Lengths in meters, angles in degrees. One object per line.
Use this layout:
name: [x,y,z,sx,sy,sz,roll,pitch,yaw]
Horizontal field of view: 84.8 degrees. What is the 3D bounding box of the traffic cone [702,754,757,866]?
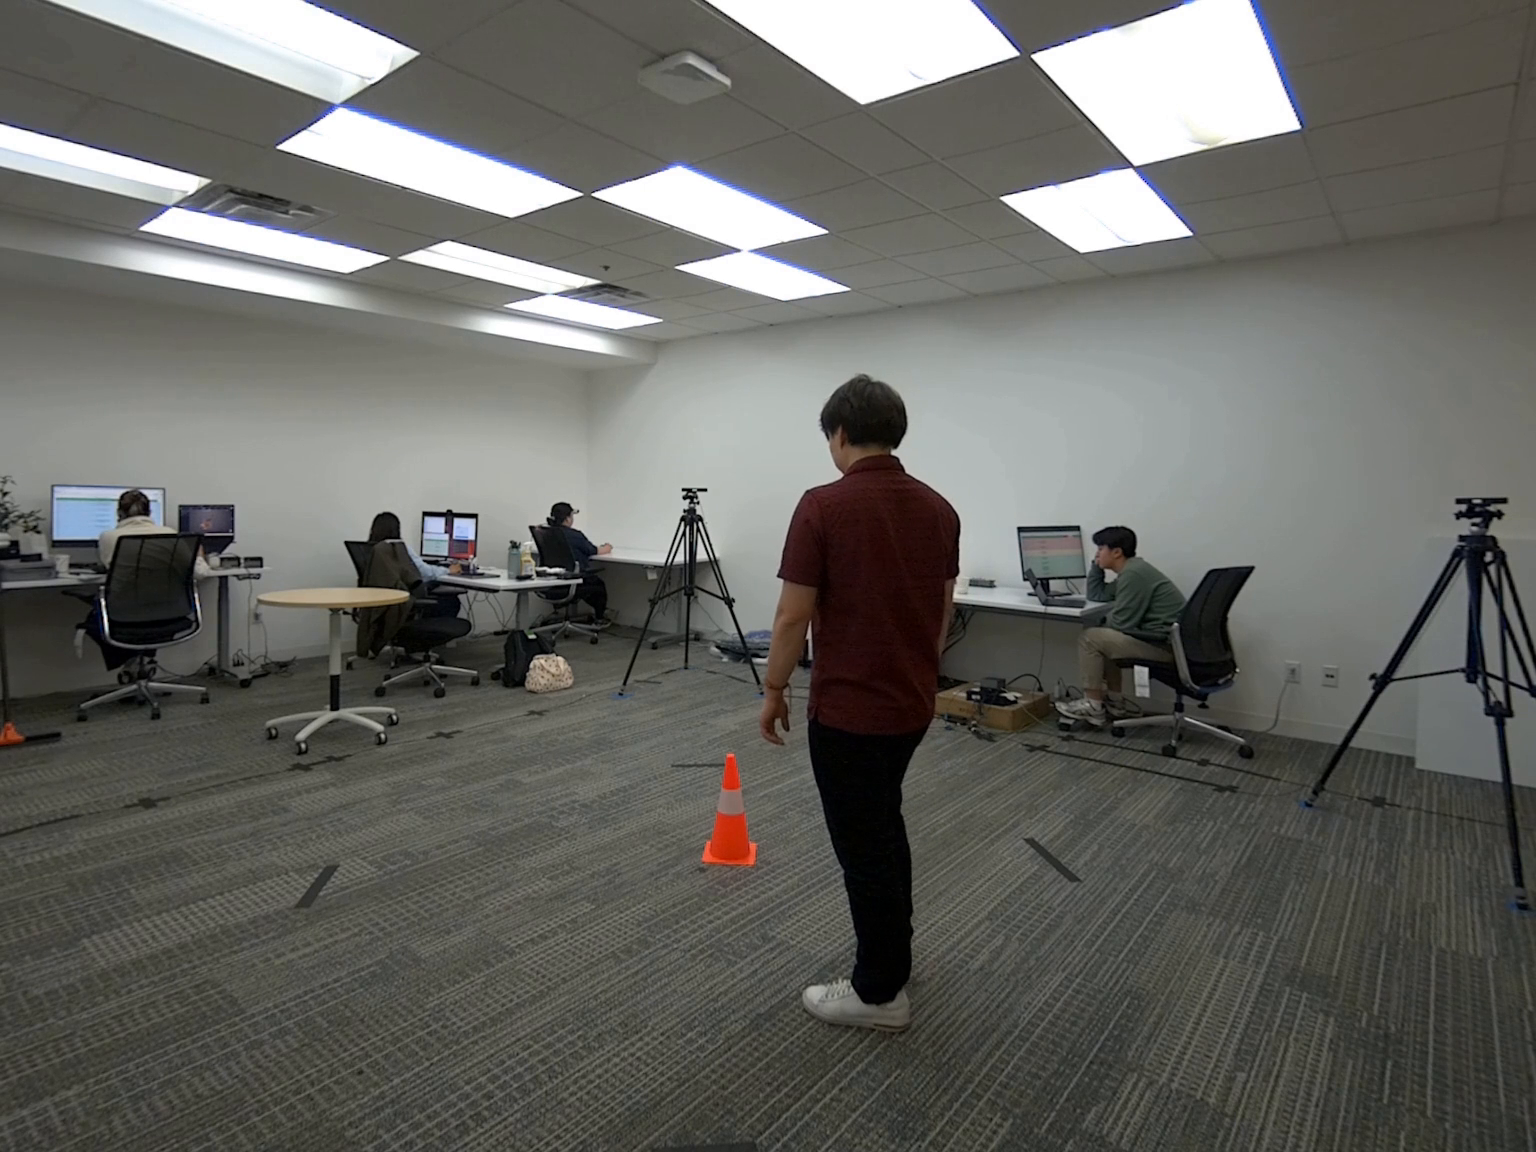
traffic cone: [-0.148,0.868,3.253,0.205,0.383,0.204,2,3,6]
